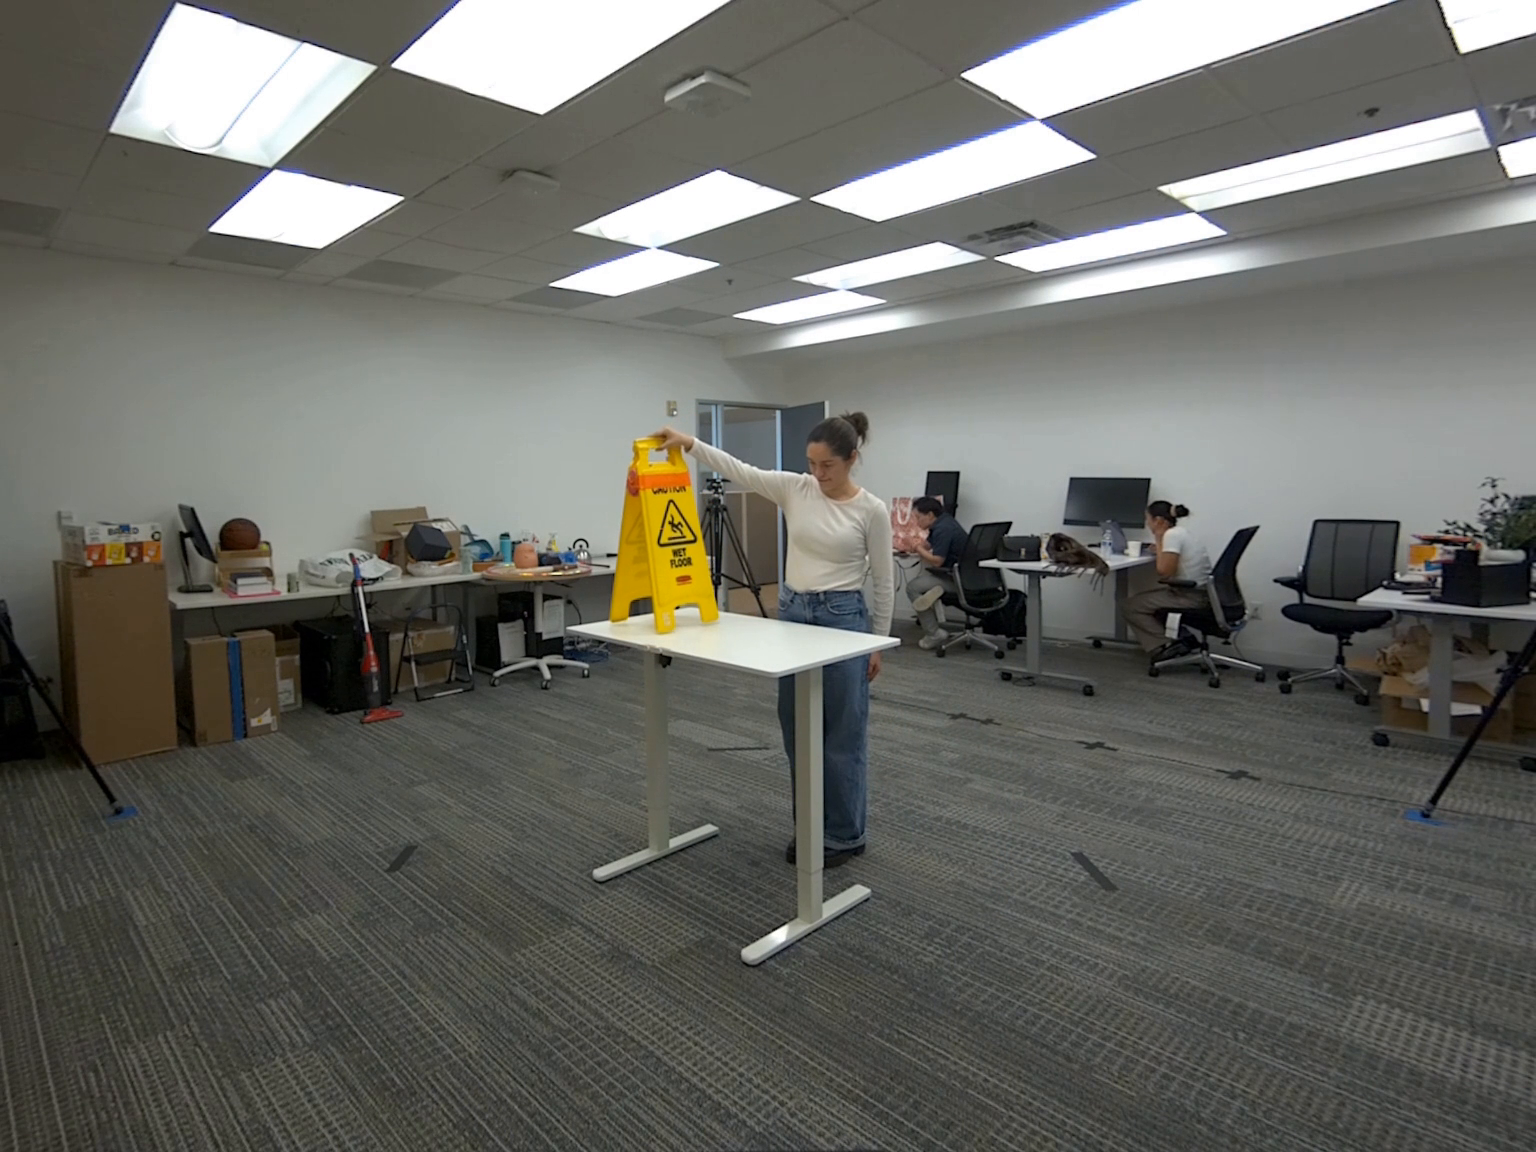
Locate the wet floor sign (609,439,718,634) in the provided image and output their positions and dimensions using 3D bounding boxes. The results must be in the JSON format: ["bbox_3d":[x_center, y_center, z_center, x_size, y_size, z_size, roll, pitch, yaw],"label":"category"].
[{"bbox_3d":[-0.380,-0.157,3.012,0.298,0.643,0.275,3,7,44],"label":"wet floor sign"}]
